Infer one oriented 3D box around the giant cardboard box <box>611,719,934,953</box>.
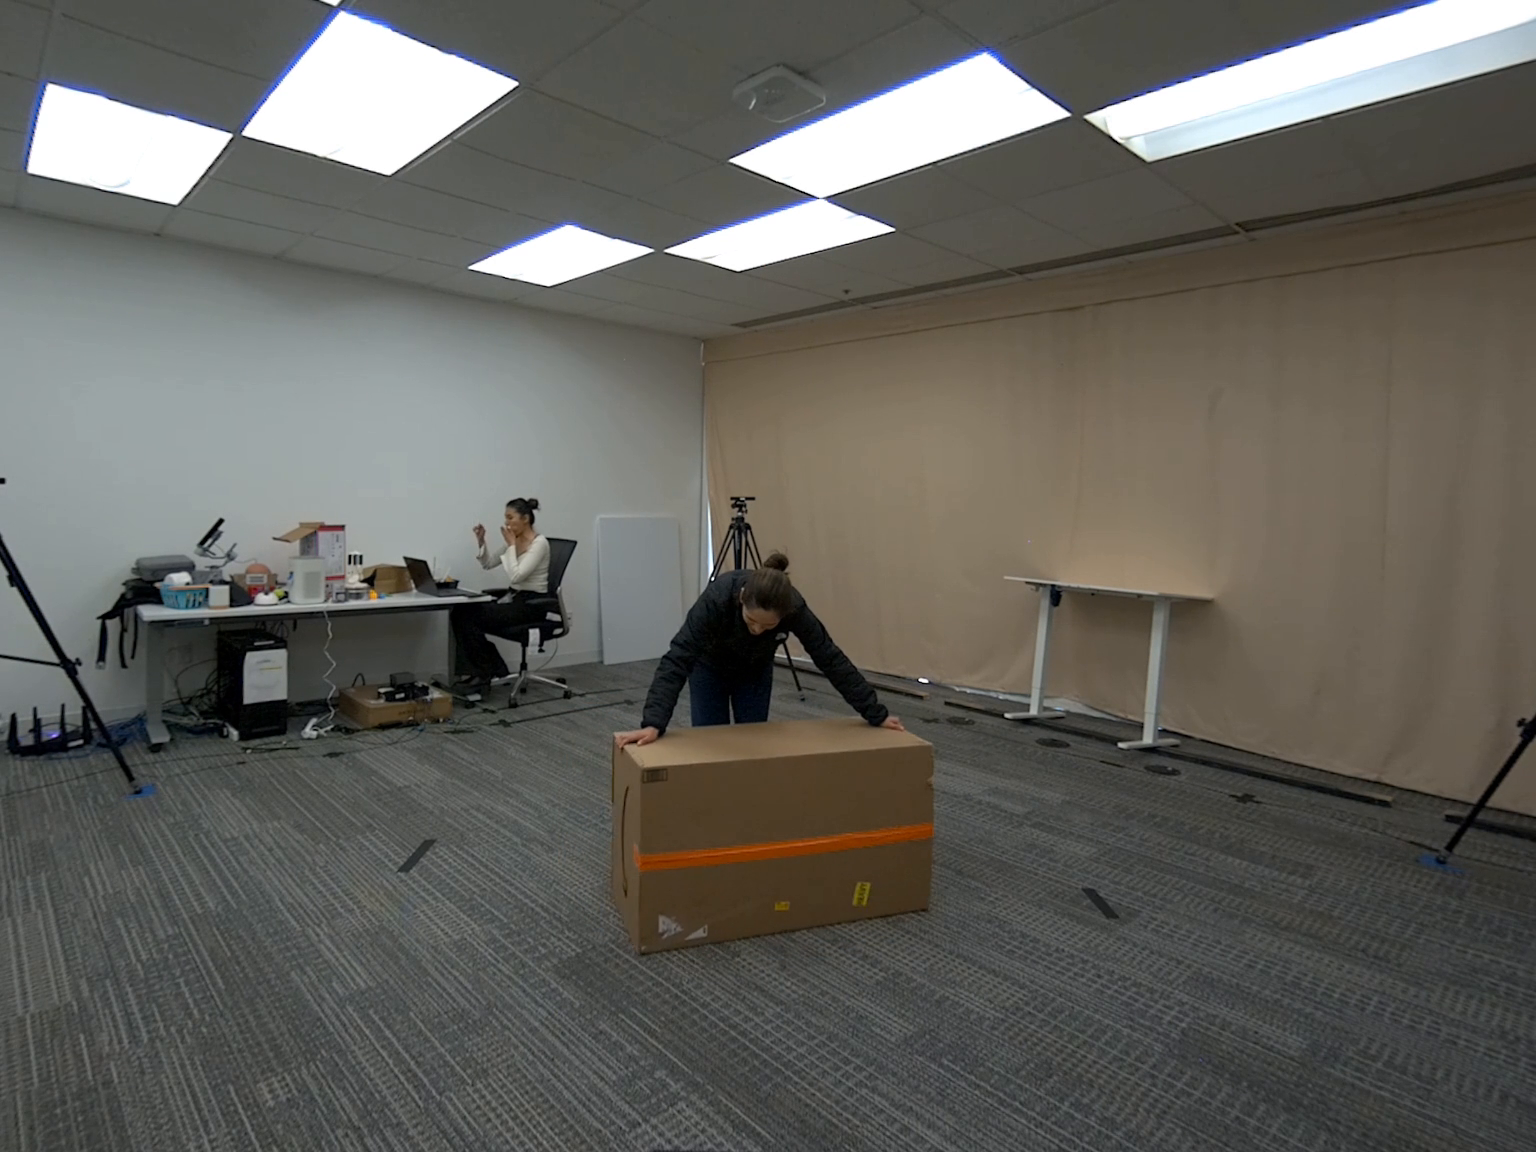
[{"bbox_3d":[0.015,0.841,2.880,1.012,0.583,0.454,0,2,-19],"label":"giant cardboard box"}]
